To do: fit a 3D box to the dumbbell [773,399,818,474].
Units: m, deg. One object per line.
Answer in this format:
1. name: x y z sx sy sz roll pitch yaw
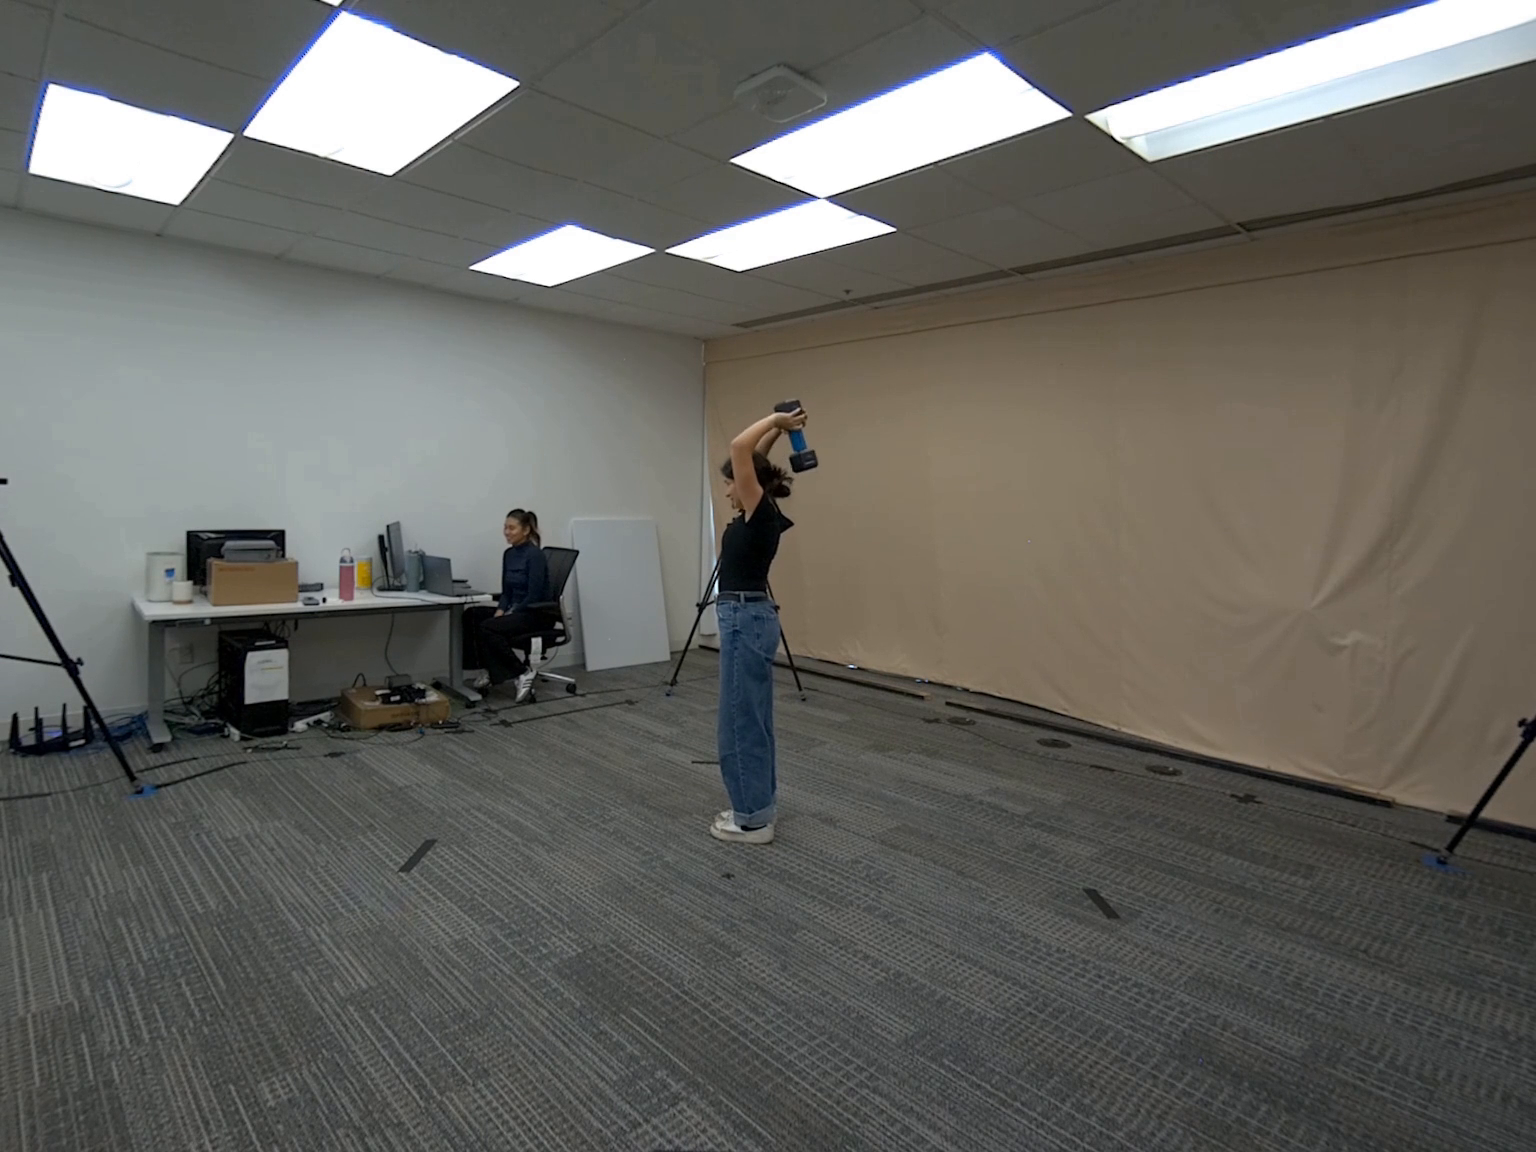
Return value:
1. dumbbell: 0.108 -0.568 3.437 0.125 0.294 0.107 -19 -2 42
